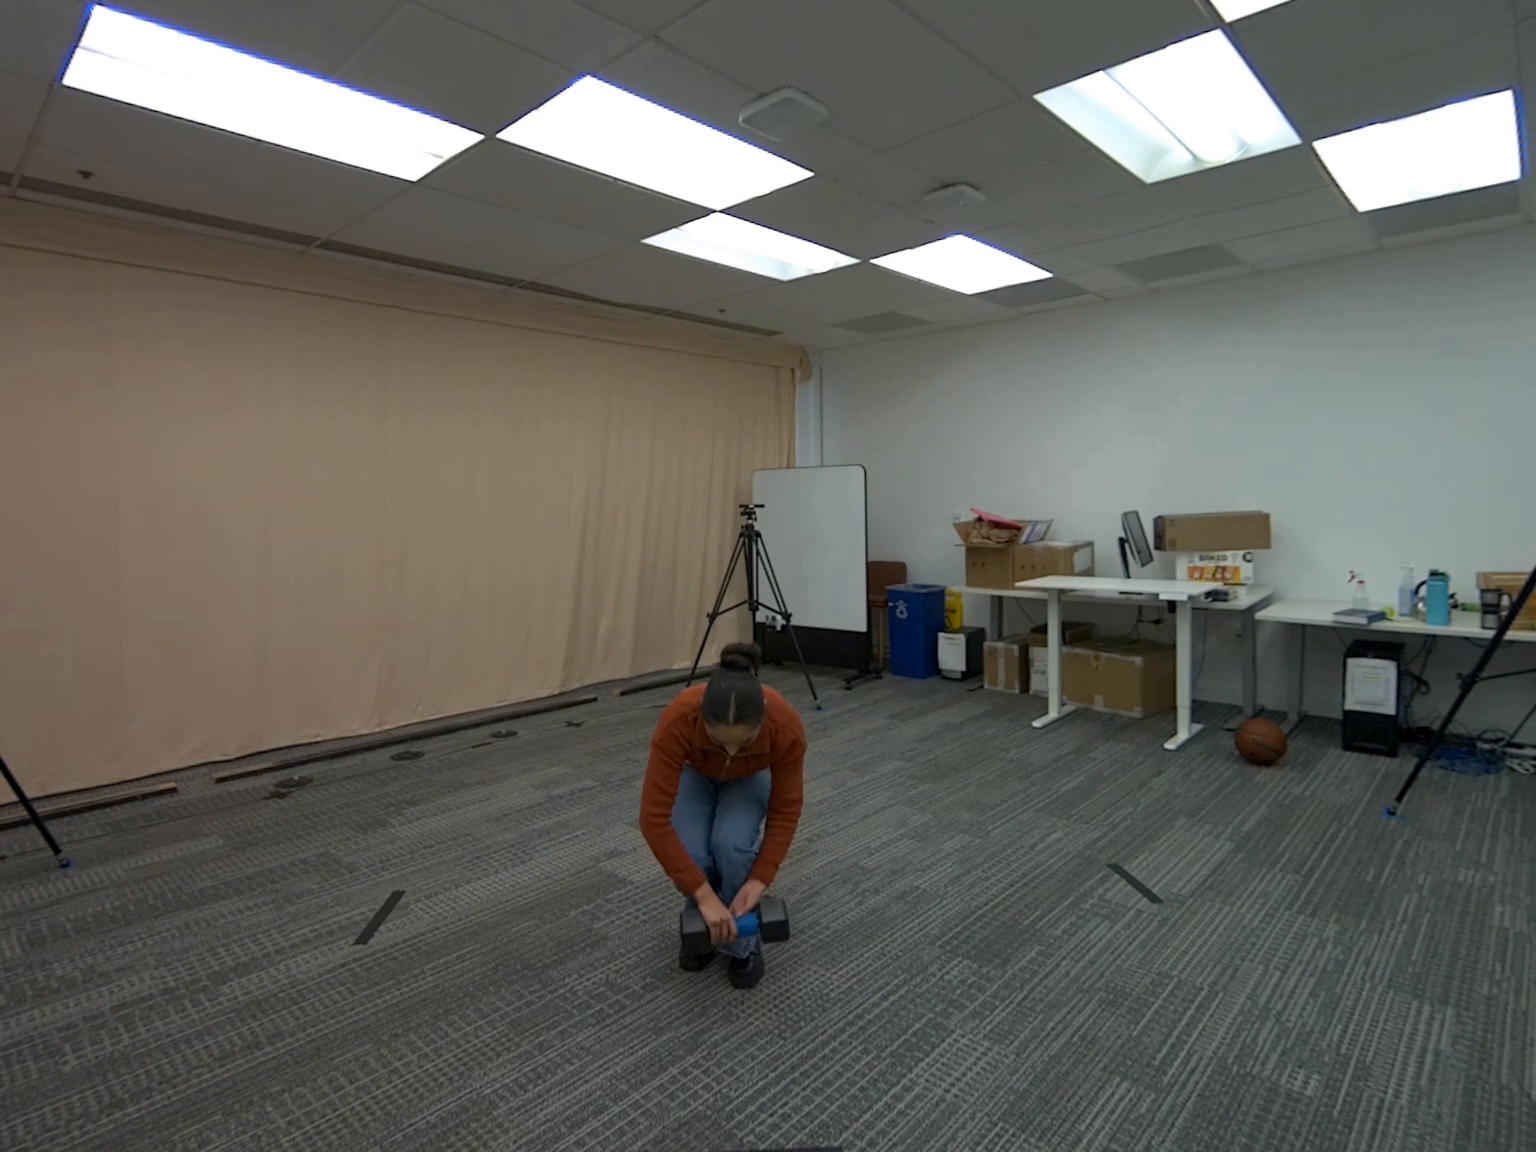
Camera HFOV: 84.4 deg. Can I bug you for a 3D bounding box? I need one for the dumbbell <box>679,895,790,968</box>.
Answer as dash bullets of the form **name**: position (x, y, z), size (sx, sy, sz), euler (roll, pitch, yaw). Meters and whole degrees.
- **dumbbell**: position (-0.092, 0.930, 2.278), size (0.293, 0.106, 0.125), euler (-5, 36, -1)
